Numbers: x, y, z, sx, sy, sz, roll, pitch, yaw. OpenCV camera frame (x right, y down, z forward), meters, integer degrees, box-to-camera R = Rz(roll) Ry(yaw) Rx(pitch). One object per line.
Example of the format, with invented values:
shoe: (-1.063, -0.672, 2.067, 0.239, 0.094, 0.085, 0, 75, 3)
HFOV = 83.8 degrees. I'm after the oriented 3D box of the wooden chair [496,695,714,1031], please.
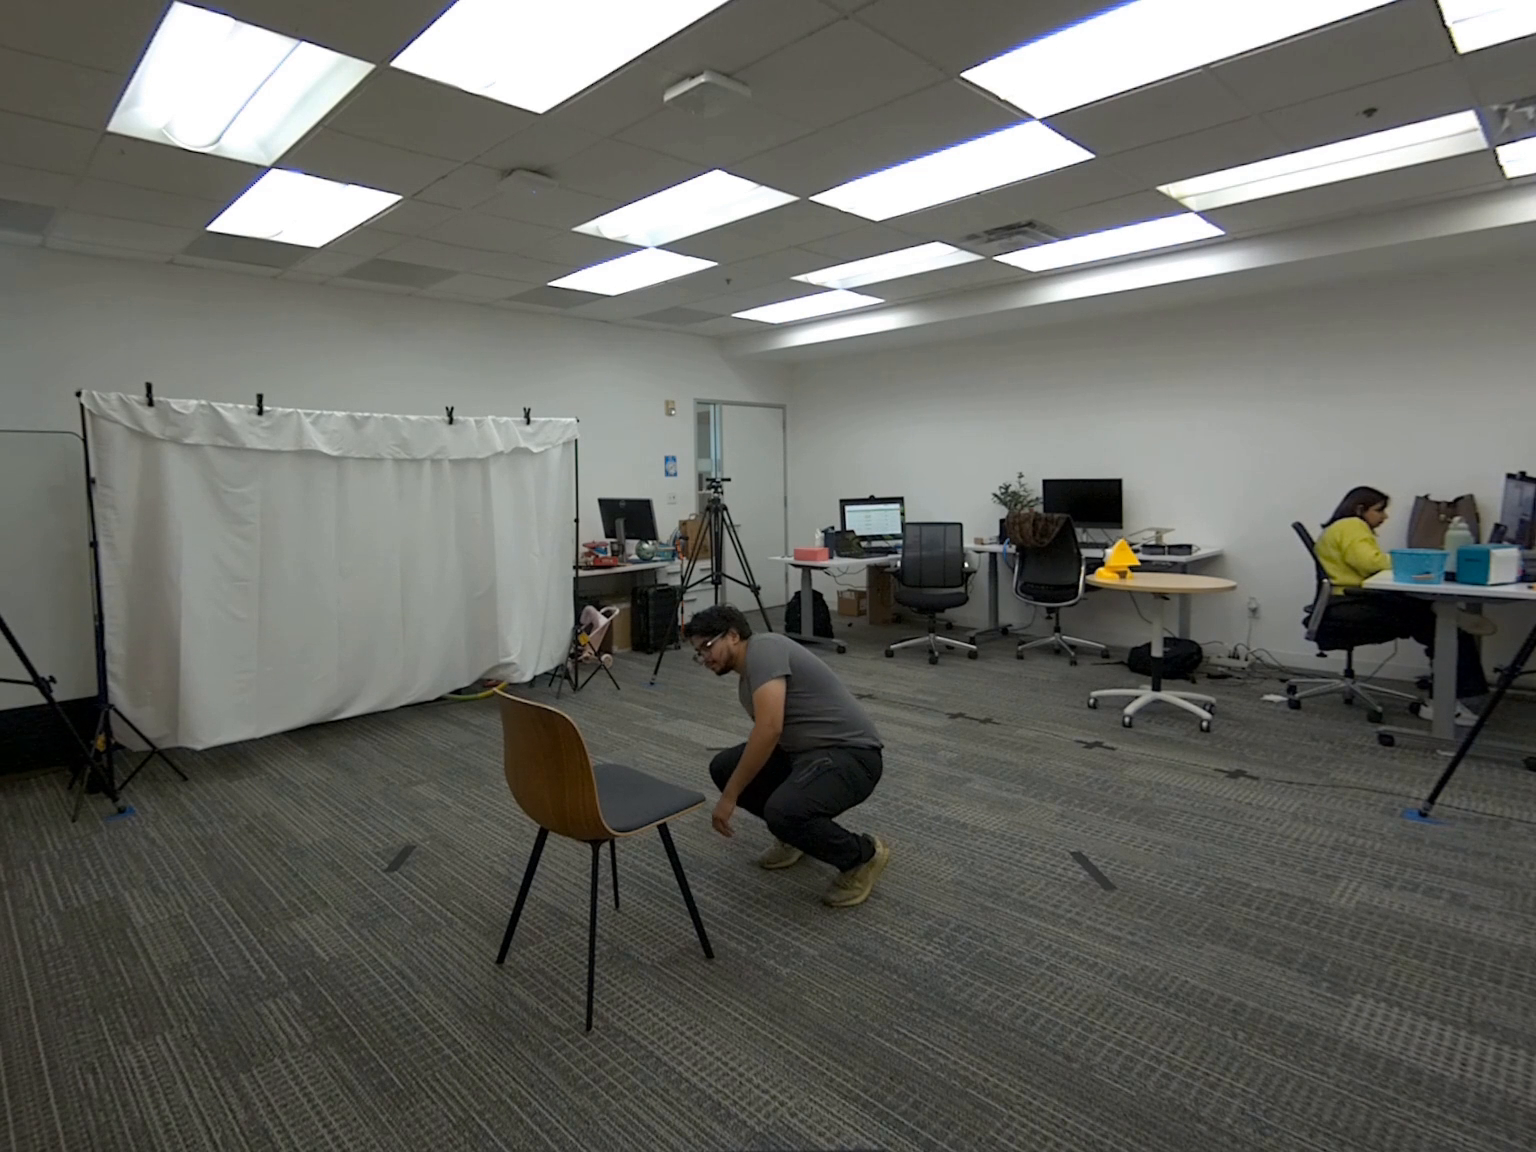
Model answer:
wooden chair: (-0.475, 0.699, 2.460, 0.493, 0.871, 0.511, 3, 11, 43)
